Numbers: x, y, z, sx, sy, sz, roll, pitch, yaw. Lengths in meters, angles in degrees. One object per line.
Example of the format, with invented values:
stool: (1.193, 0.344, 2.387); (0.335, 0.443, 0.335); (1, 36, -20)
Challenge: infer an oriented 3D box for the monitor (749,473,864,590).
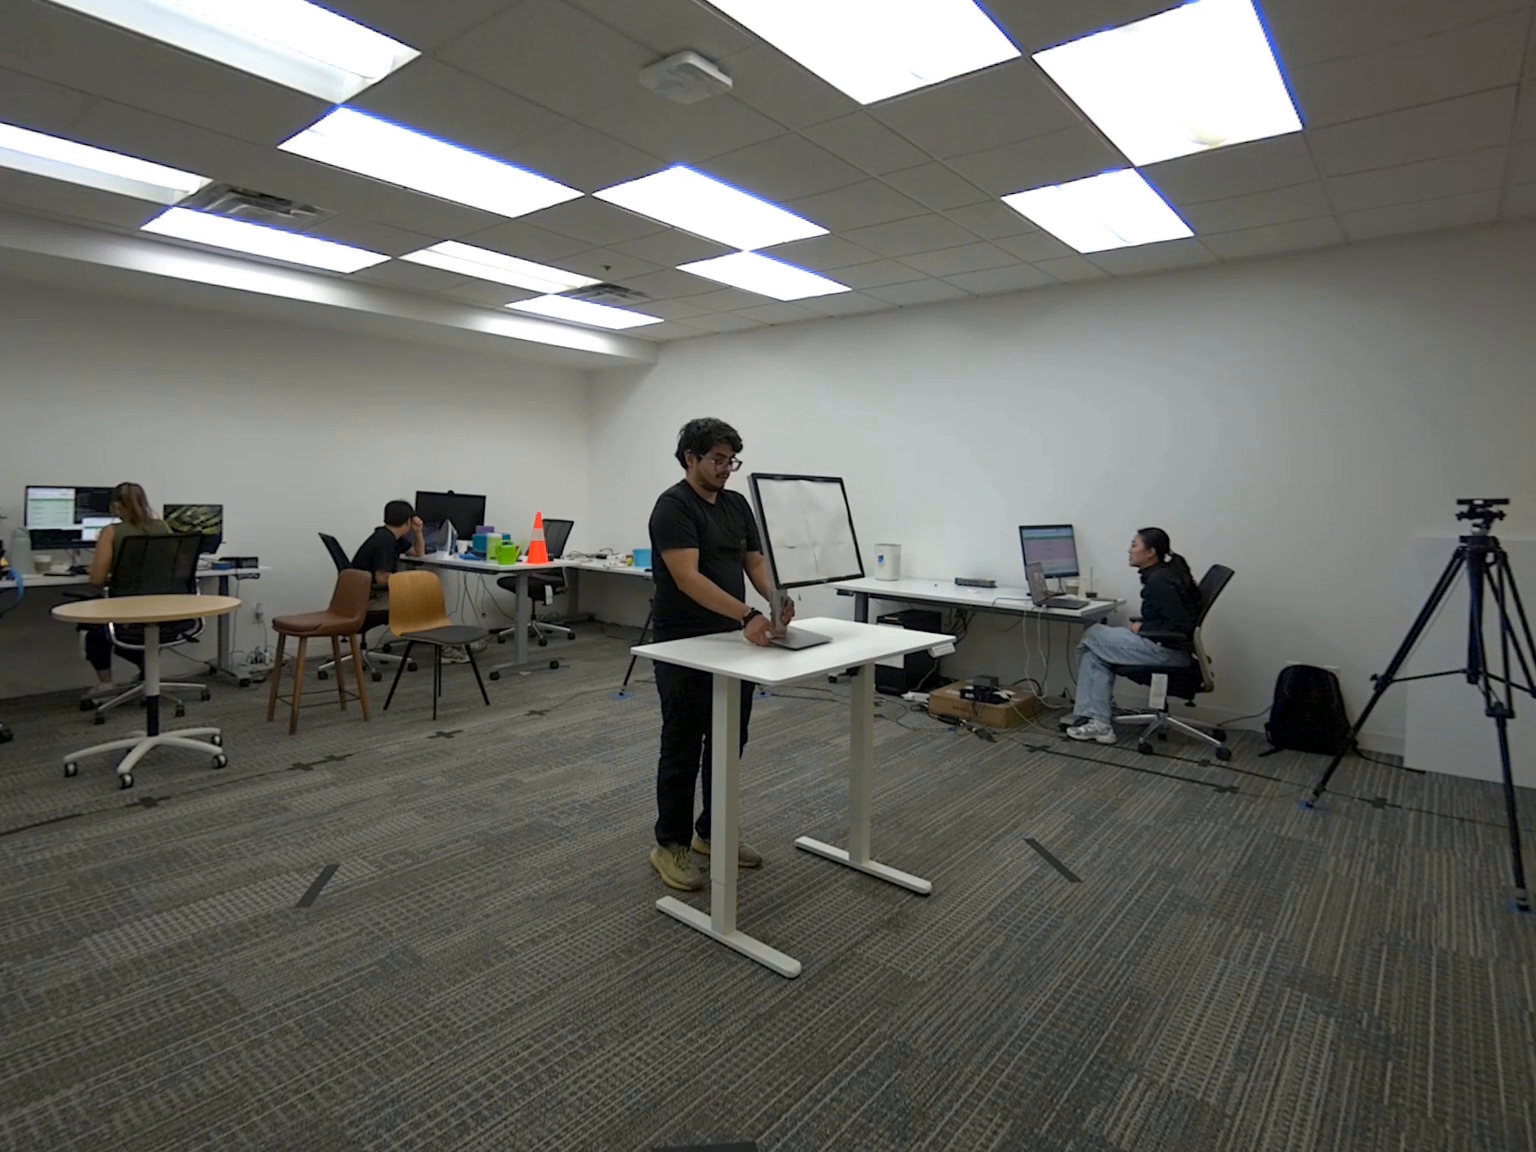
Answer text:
monitor: (0.073, -0.060, 2.813); (0.216, 0.555, 0.549); (-5, 0, 34)
